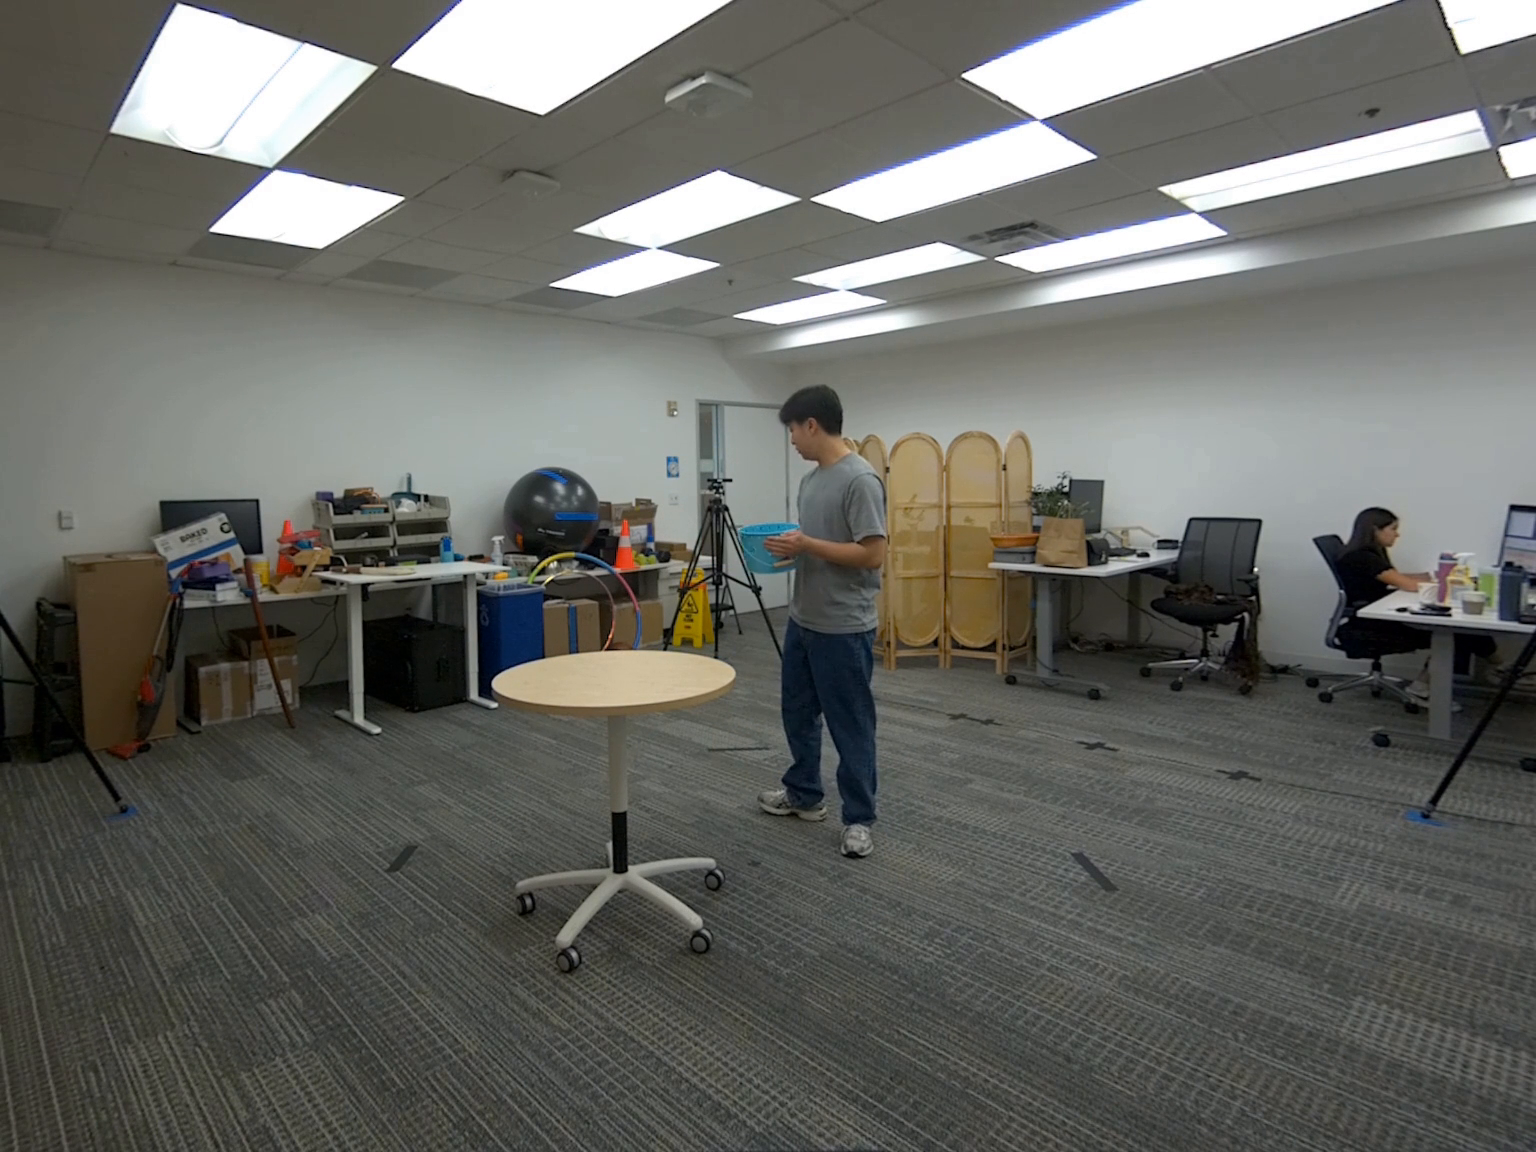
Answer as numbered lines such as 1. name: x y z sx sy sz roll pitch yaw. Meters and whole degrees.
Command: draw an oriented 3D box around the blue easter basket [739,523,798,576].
1. blue easter basket: 0.021 -0.104 3.133 0.243 0.154 0.246 -3 11 -1
